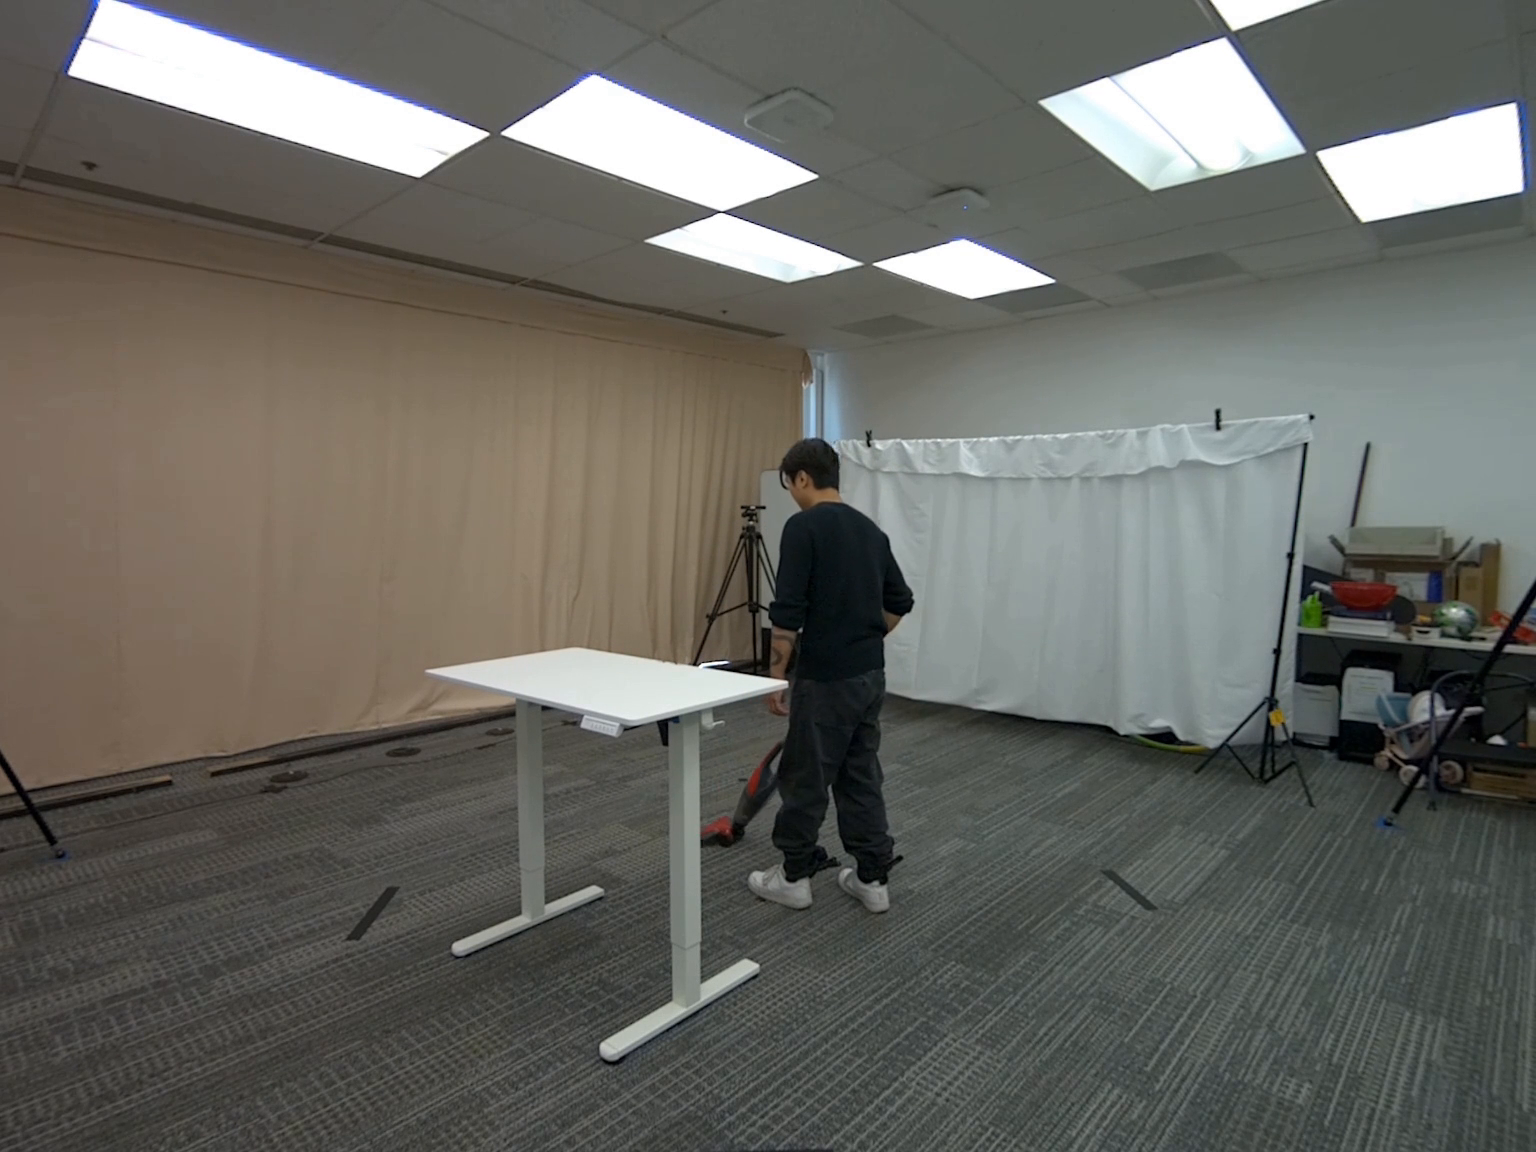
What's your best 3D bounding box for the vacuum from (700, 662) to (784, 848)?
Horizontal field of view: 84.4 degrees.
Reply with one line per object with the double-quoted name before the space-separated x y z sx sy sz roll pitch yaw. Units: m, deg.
"vacuum" 0.082 0.682 3.331 0.148 1.051 0.245 45 24 25
